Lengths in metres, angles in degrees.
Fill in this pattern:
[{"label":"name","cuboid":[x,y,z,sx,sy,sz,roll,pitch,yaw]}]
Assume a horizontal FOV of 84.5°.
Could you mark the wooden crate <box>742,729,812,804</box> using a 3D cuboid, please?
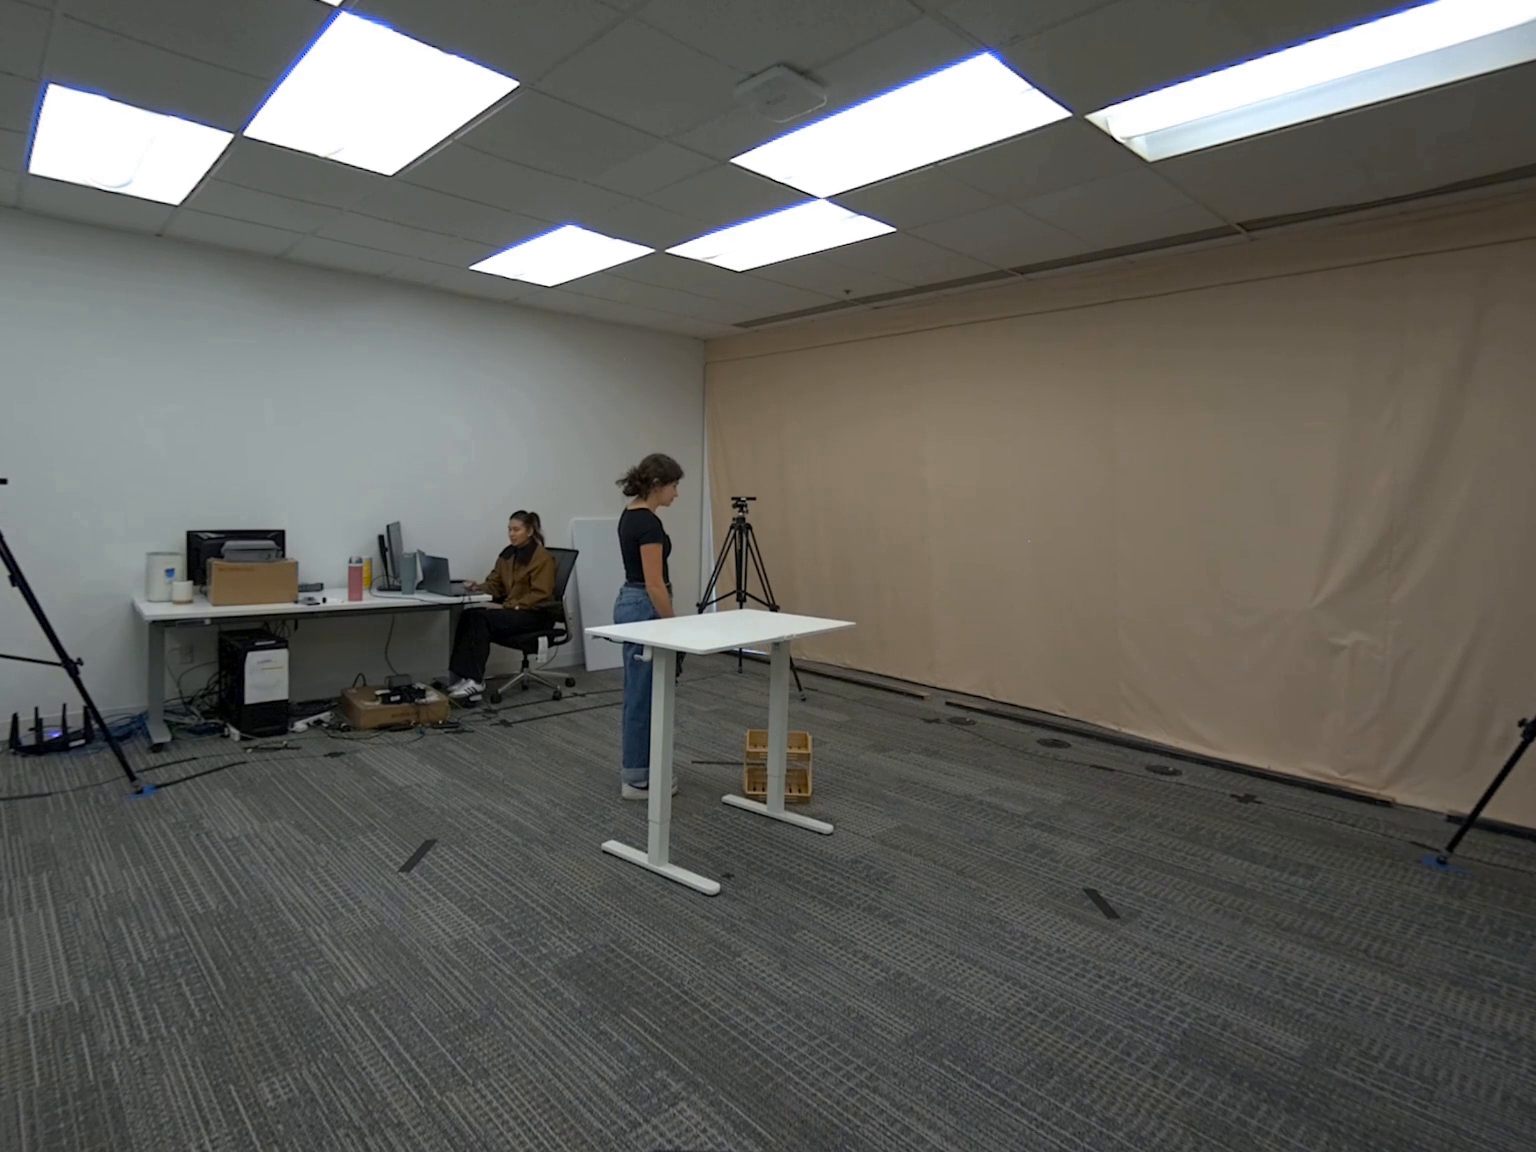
[{"label":"wooden crate","cuboid":[0.031,0.893,3.993,0.325,0.273,0.302,2,3,0]}]
